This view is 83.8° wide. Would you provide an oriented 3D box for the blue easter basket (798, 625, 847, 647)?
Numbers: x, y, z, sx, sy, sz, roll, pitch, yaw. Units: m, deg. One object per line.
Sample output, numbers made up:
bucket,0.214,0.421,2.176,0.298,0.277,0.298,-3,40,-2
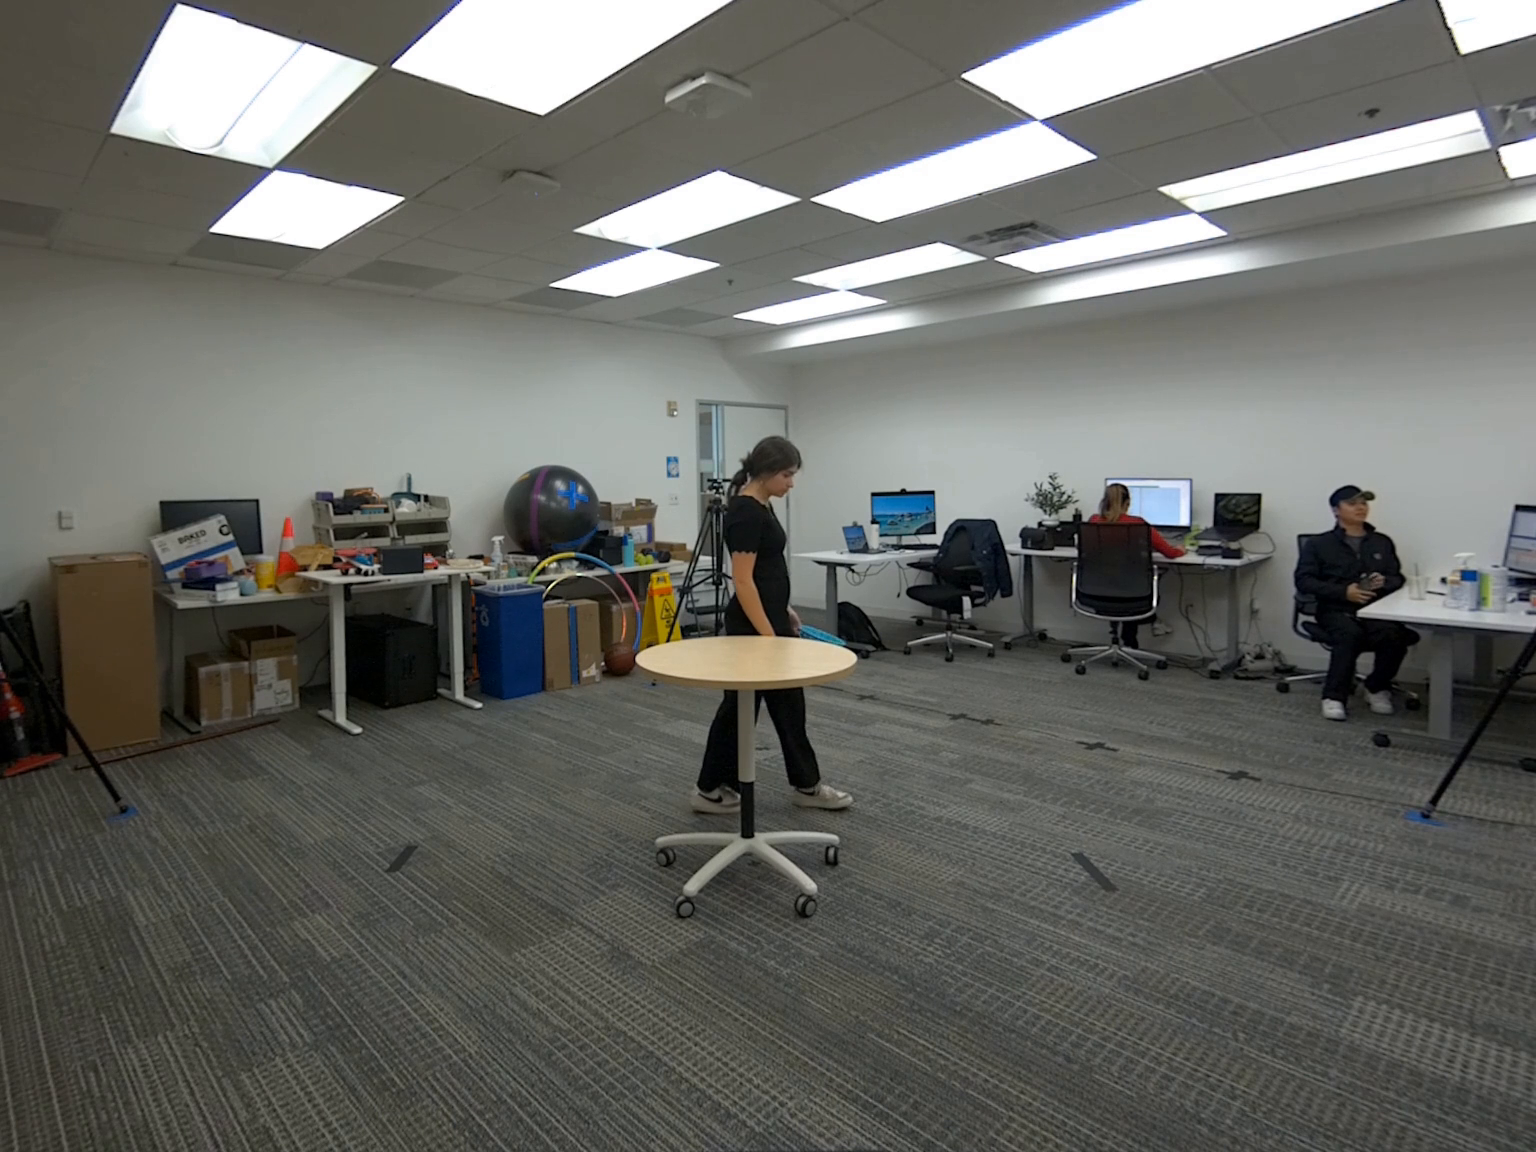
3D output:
blue easter basket,0.217,0.324,3.822,0.243,0.155,0.245,18,5,-3
